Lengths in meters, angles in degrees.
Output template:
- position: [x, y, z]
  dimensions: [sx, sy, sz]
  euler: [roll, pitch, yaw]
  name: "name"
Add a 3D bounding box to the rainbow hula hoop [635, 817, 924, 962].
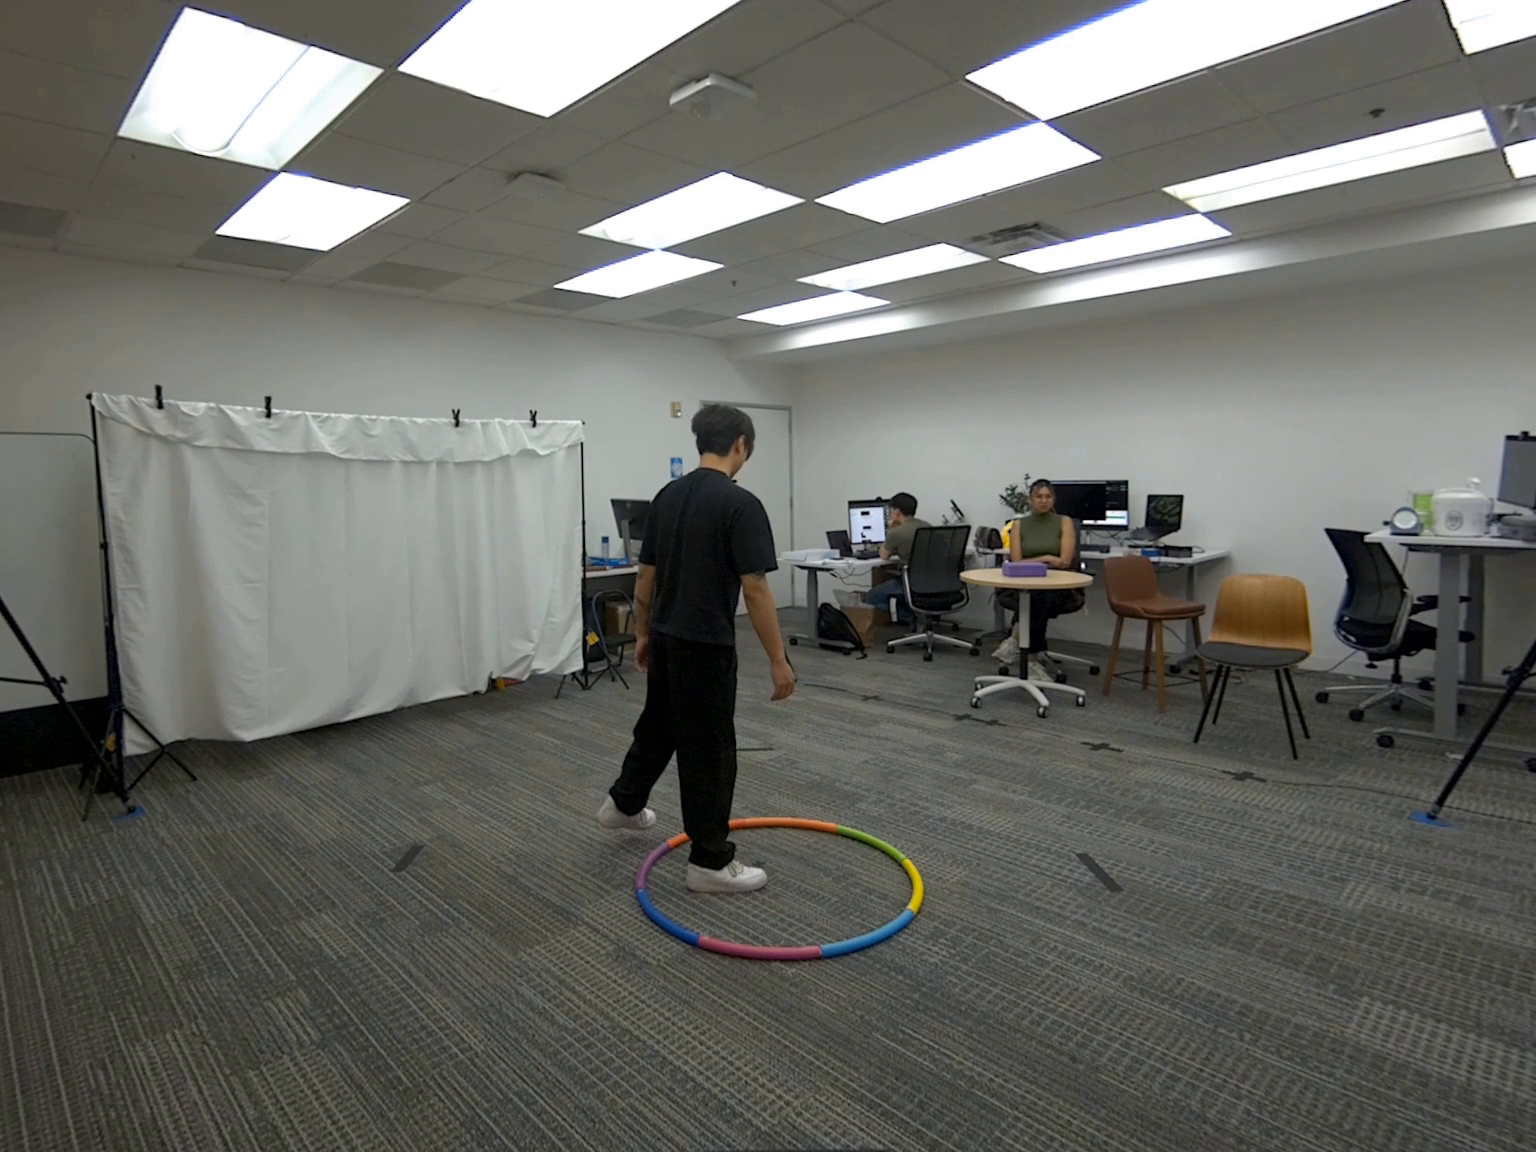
- position: [0.033, 1.034, 2.965]
  dimensions: [0.978, 0.035, 0.984]
  euler: [-1, 6, -2]
  name: "rainbow hula hoop"
